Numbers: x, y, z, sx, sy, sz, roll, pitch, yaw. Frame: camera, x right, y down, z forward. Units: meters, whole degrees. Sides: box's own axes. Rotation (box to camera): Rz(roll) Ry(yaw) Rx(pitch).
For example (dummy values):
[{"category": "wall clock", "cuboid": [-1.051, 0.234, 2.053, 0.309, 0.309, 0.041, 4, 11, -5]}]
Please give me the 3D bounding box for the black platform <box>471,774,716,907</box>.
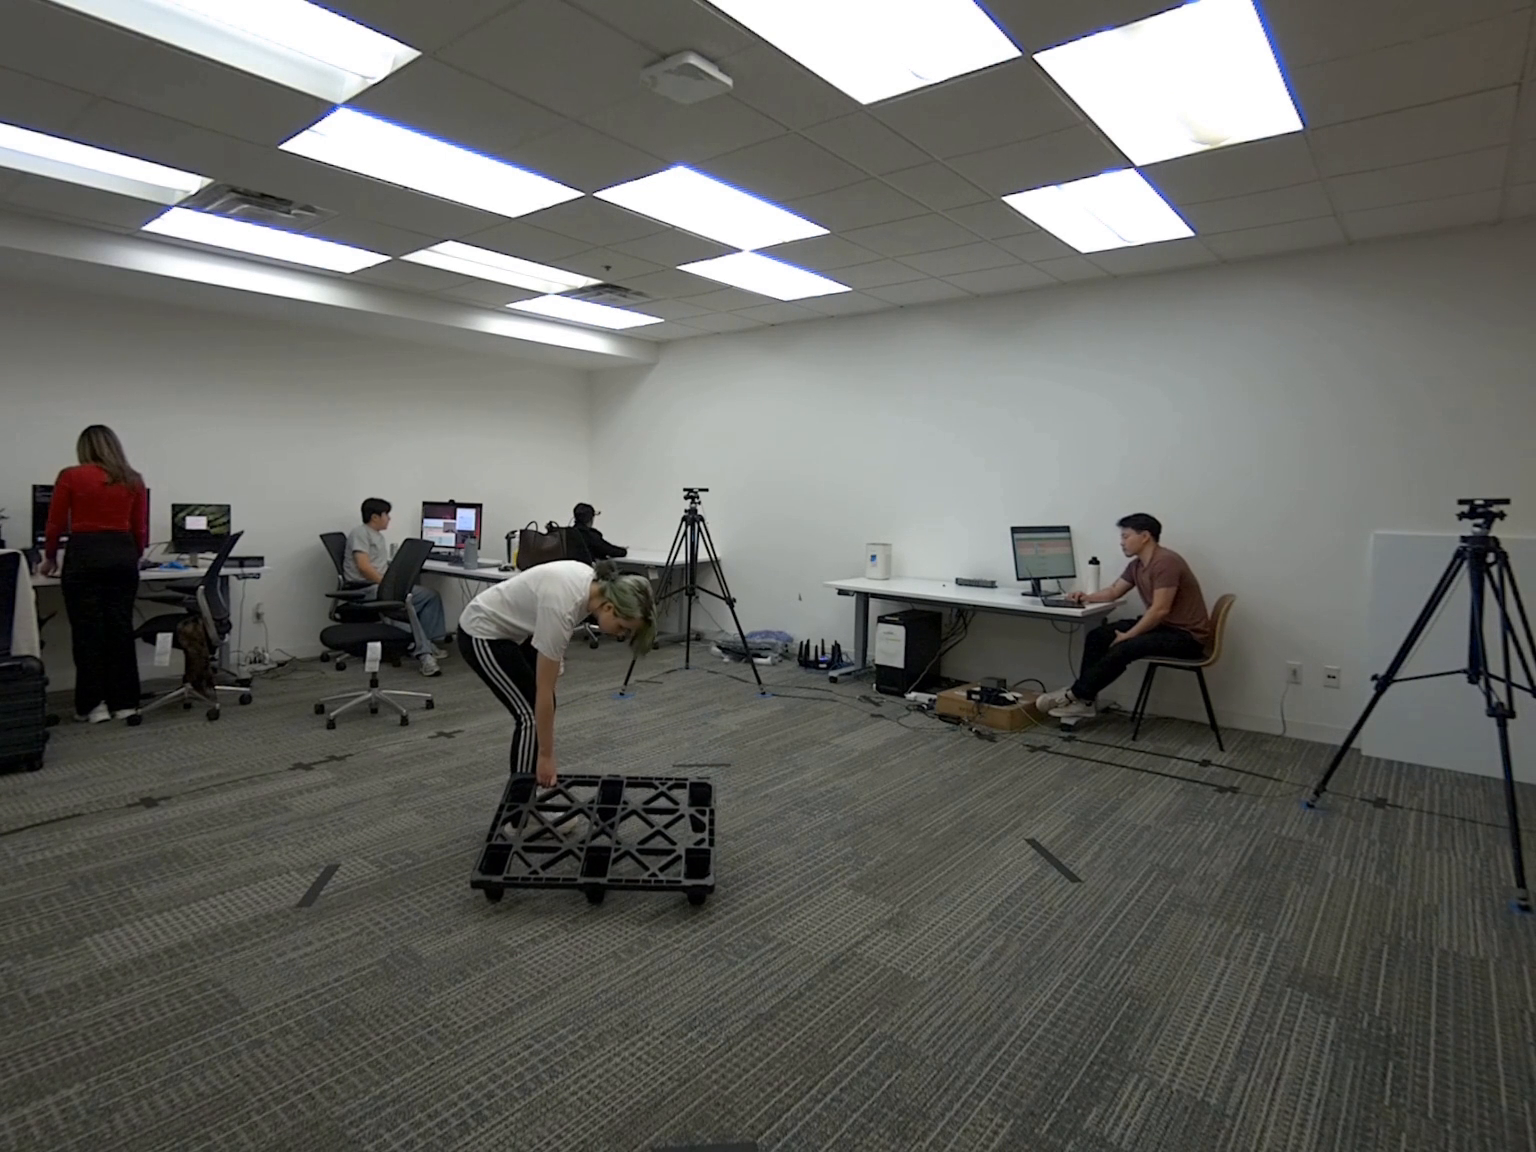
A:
[{"category": "black platform", "cuboid": [-0.594, 0.946, 3.043, 0.805, 0.141, 0.616, 1, 21, -1]}]
